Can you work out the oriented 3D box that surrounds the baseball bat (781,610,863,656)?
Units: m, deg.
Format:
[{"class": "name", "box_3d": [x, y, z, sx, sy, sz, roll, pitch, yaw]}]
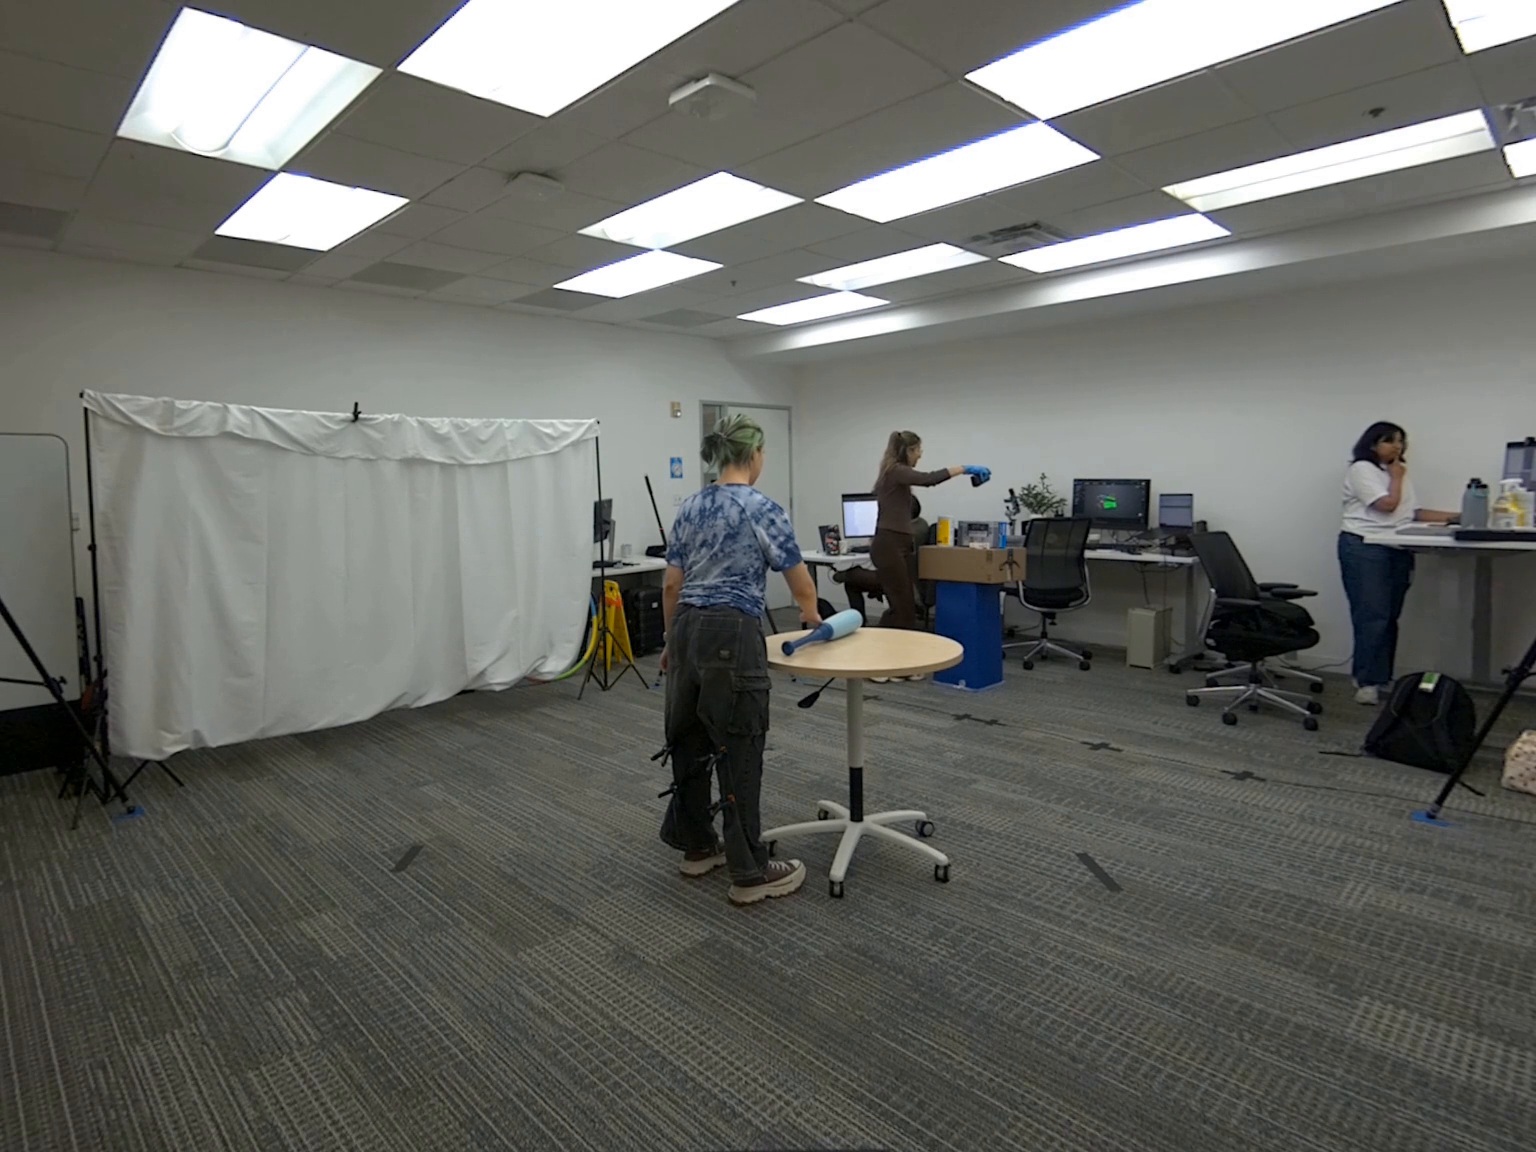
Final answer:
[{"class": "baseball bat", "box_3d": [0.211, 0.216, 3.183, 0.091, 0.088, 0.533, 2, 11, 30]}]
